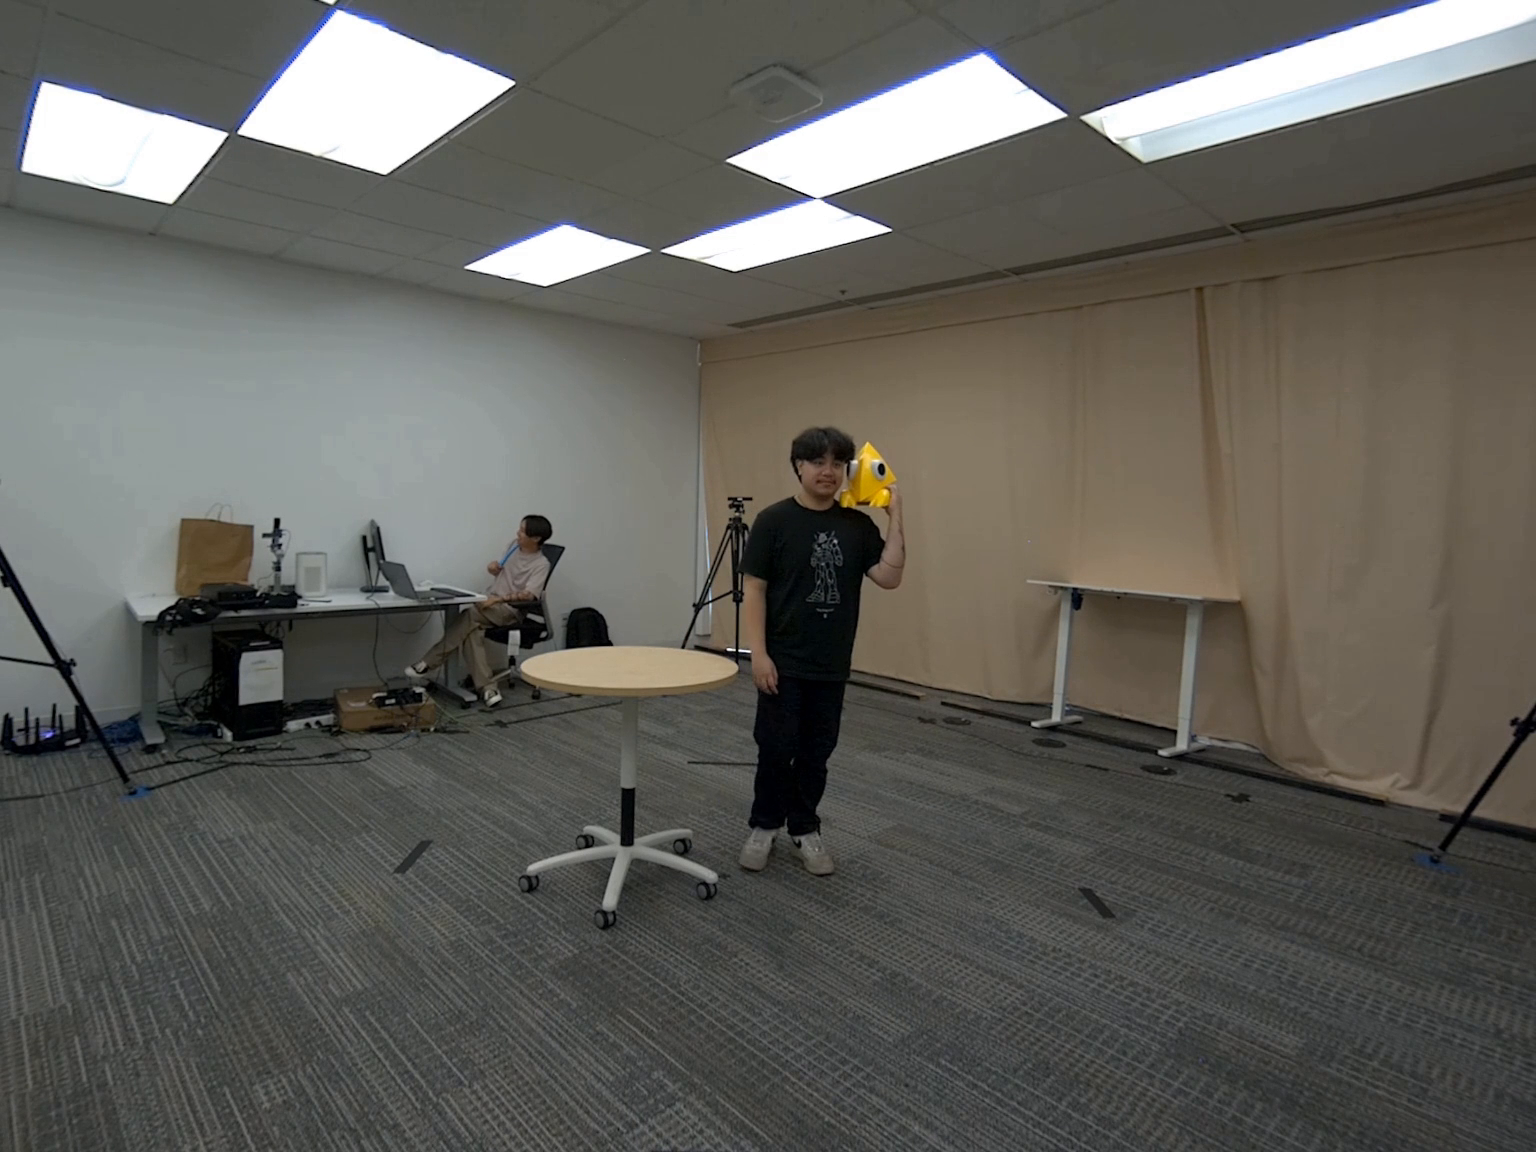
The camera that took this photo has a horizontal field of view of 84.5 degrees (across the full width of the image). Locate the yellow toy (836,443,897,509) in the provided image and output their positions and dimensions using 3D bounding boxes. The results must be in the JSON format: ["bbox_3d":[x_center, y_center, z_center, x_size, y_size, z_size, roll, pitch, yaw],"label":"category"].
[{"bbox_3d":[0.356,-0.391,3.196,0.208,0.229,0.192,1,11,18],"label":"yellow toy"}]
